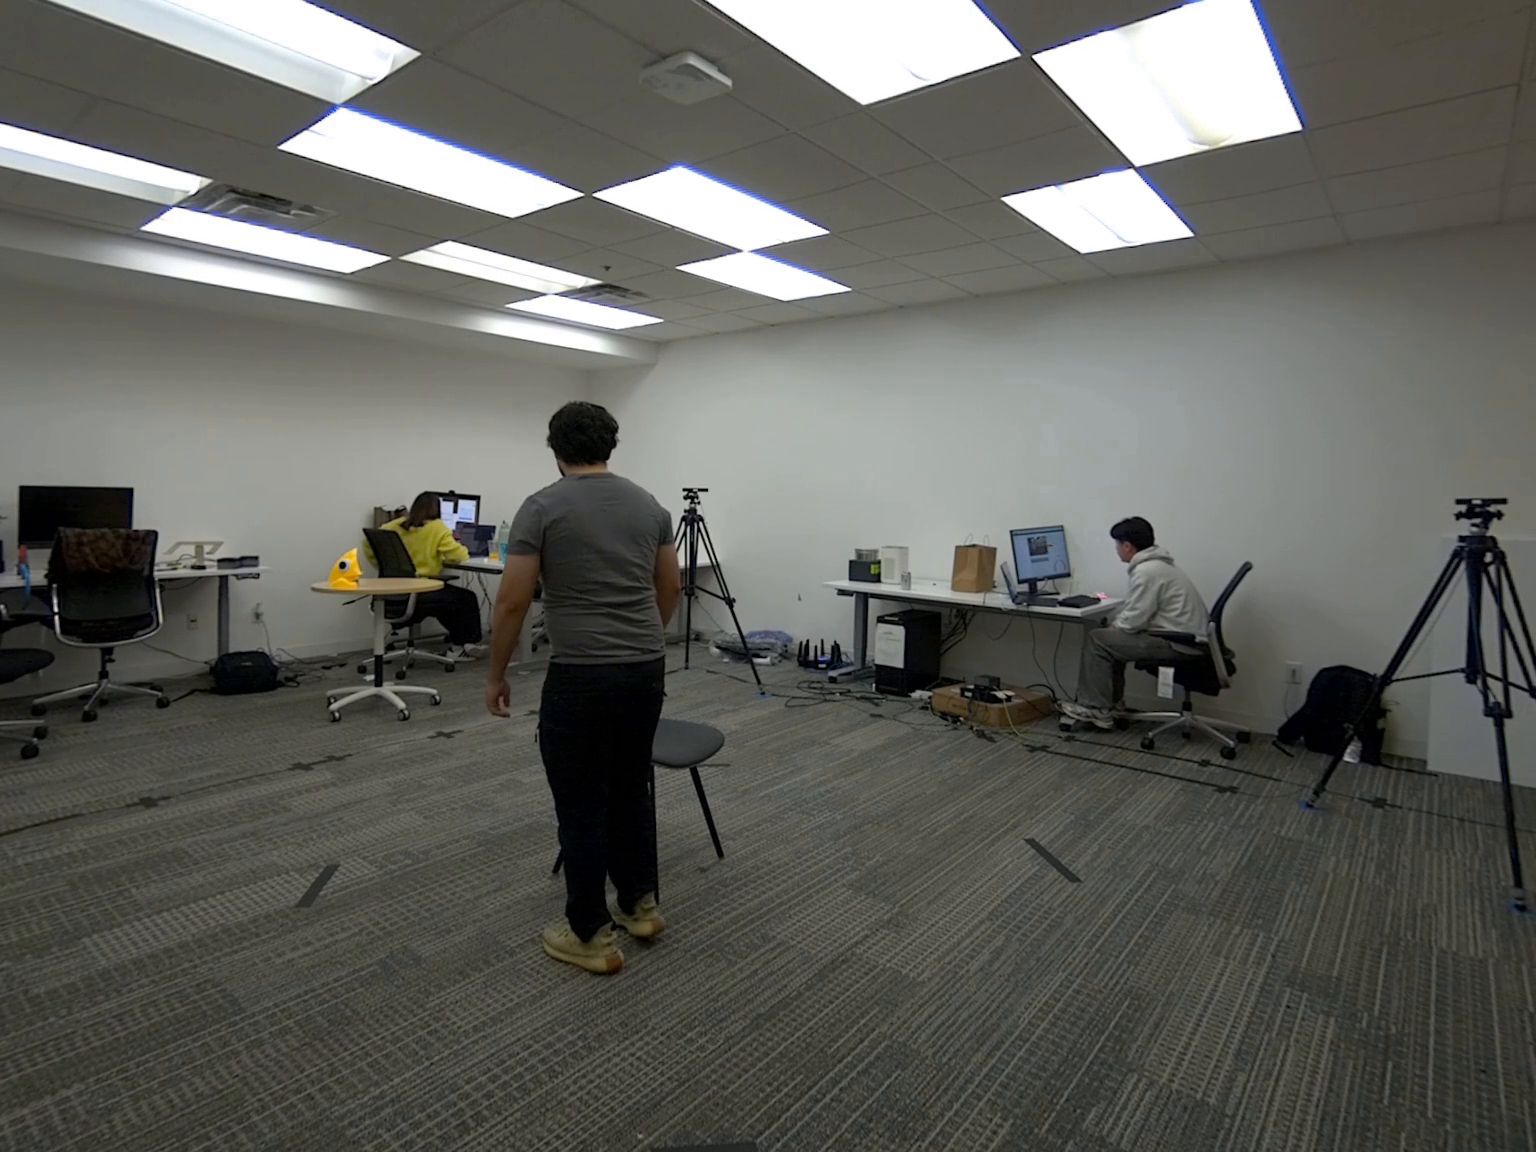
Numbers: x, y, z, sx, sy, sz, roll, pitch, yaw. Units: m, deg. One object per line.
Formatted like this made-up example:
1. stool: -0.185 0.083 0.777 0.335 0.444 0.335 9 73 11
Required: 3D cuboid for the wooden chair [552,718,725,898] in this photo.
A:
1. wooden chair: -0.458 0.636 3.103 0.537 0.877 0.466 -2 1 28
